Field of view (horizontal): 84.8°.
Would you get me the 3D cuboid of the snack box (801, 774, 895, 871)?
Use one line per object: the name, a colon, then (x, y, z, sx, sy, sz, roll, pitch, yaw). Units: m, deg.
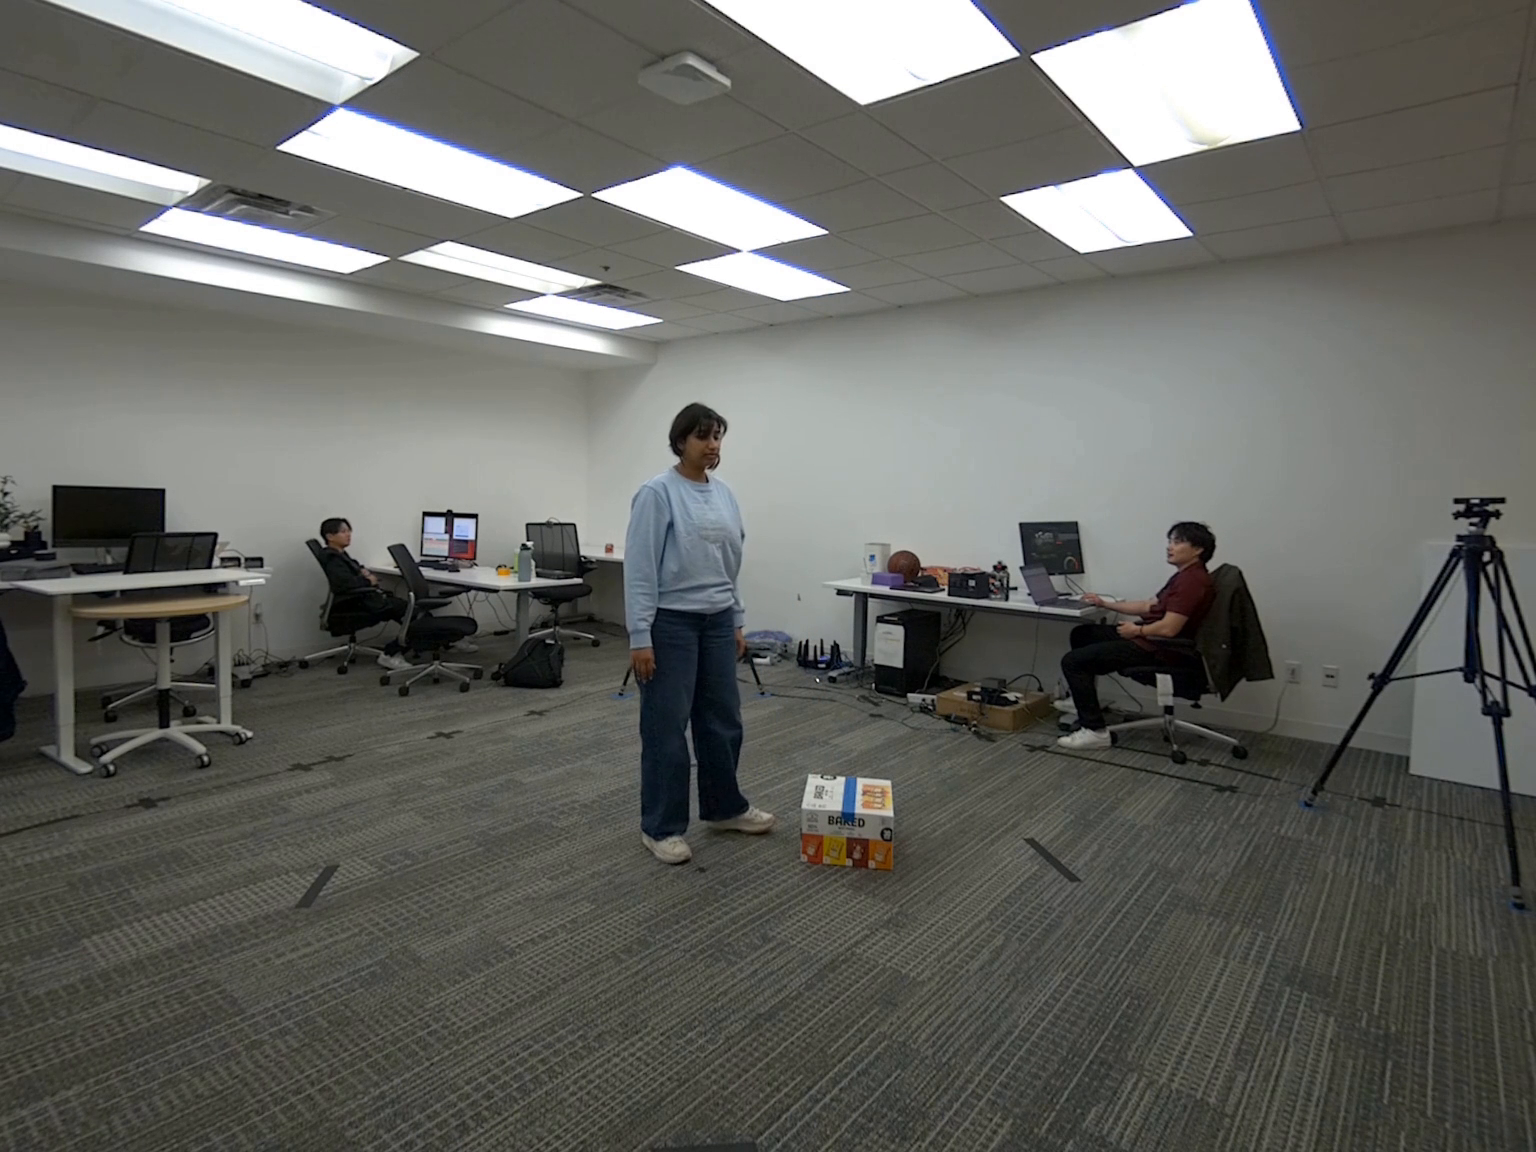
snack box: (0.308, 0.961, 3.358, 0.344, 0.205, 0.403, 2, 6, 8)
